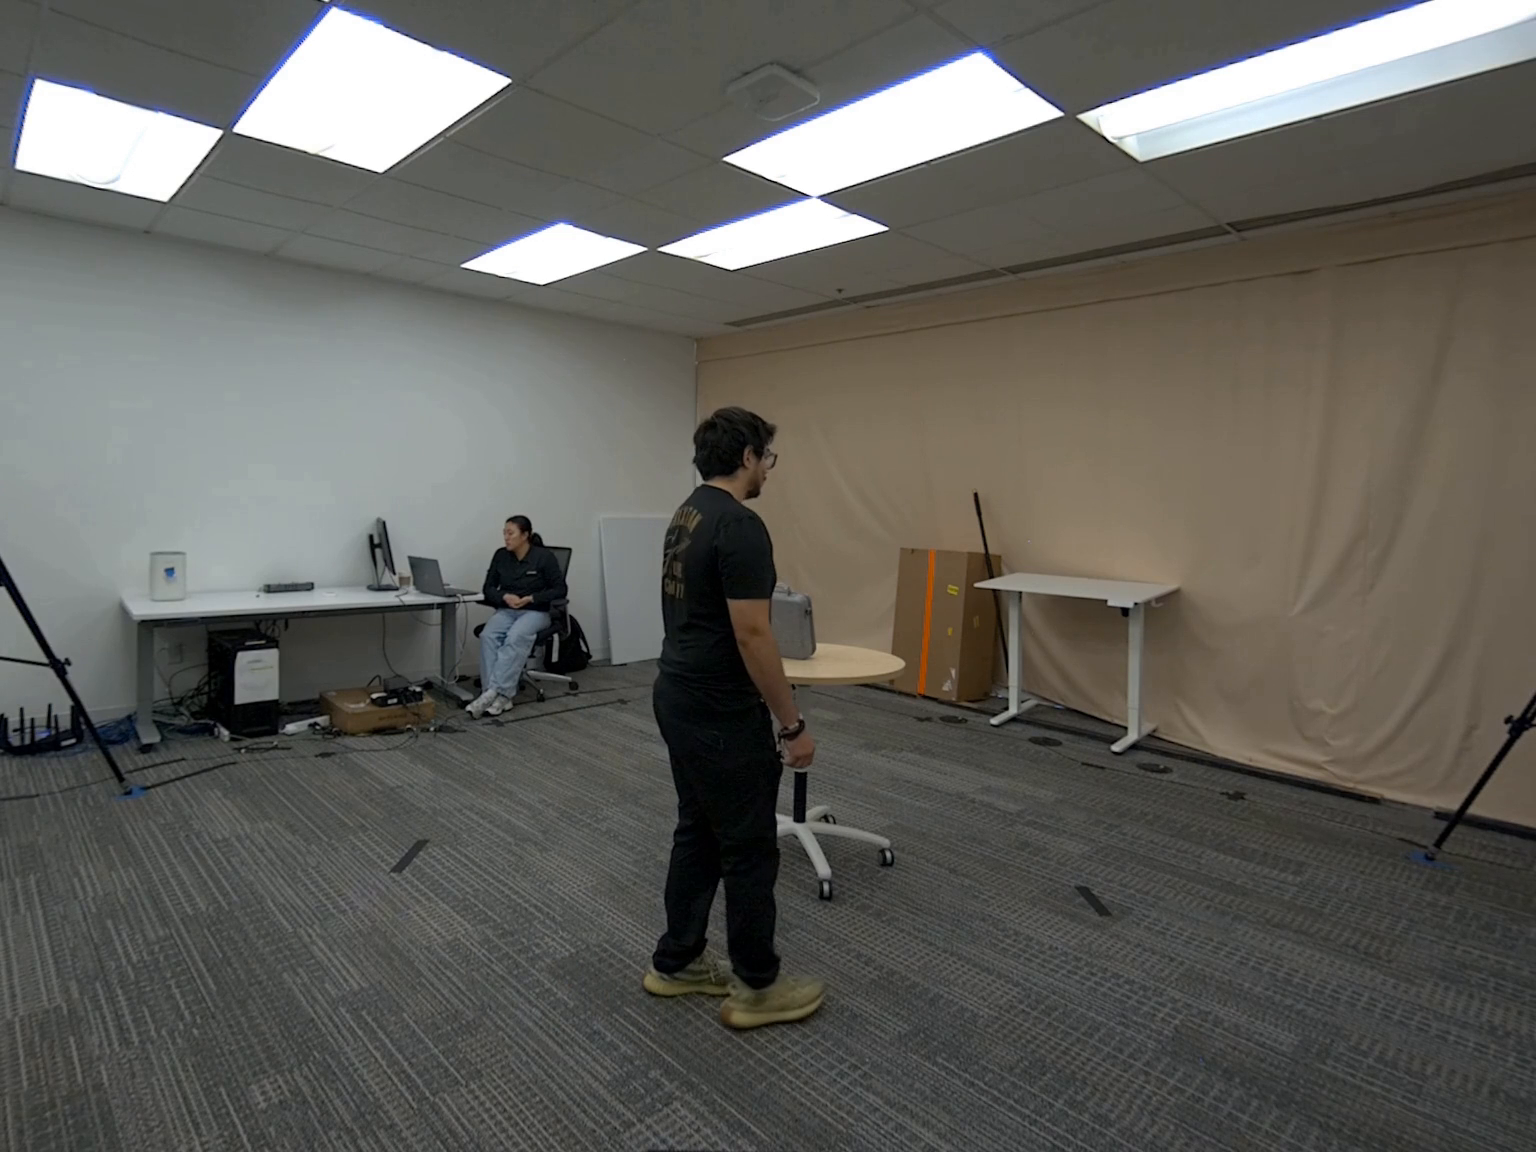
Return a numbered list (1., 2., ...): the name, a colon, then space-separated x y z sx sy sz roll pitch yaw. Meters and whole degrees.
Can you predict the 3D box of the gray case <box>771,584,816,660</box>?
1. gray case: 0.045 0.186 3.260 0.262 0.258 0.103 2 15 31
